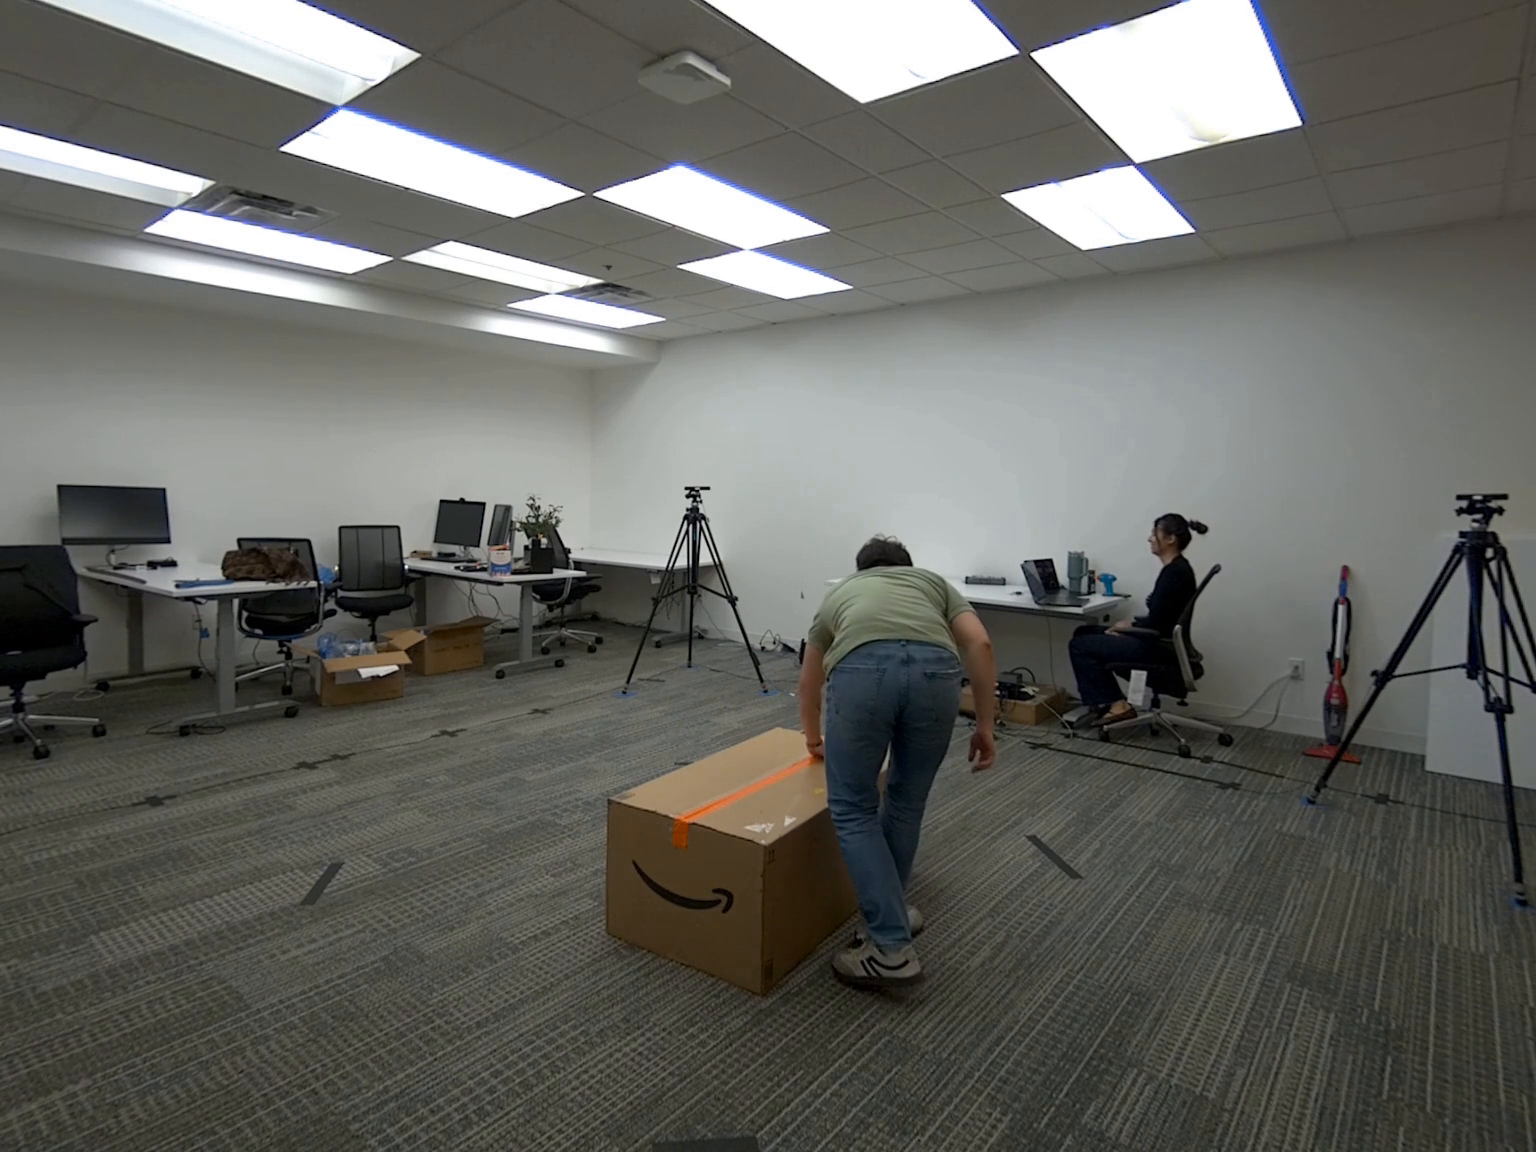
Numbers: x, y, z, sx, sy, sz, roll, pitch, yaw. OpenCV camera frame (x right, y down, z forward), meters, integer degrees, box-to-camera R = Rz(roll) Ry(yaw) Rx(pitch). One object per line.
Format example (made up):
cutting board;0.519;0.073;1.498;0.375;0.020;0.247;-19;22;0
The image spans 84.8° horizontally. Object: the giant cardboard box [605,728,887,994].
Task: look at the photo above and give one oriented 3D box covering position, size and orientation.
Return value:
giant cardboard box;-0.004;0.879;2.888;0.596;0.424;0.998;5;6;32
